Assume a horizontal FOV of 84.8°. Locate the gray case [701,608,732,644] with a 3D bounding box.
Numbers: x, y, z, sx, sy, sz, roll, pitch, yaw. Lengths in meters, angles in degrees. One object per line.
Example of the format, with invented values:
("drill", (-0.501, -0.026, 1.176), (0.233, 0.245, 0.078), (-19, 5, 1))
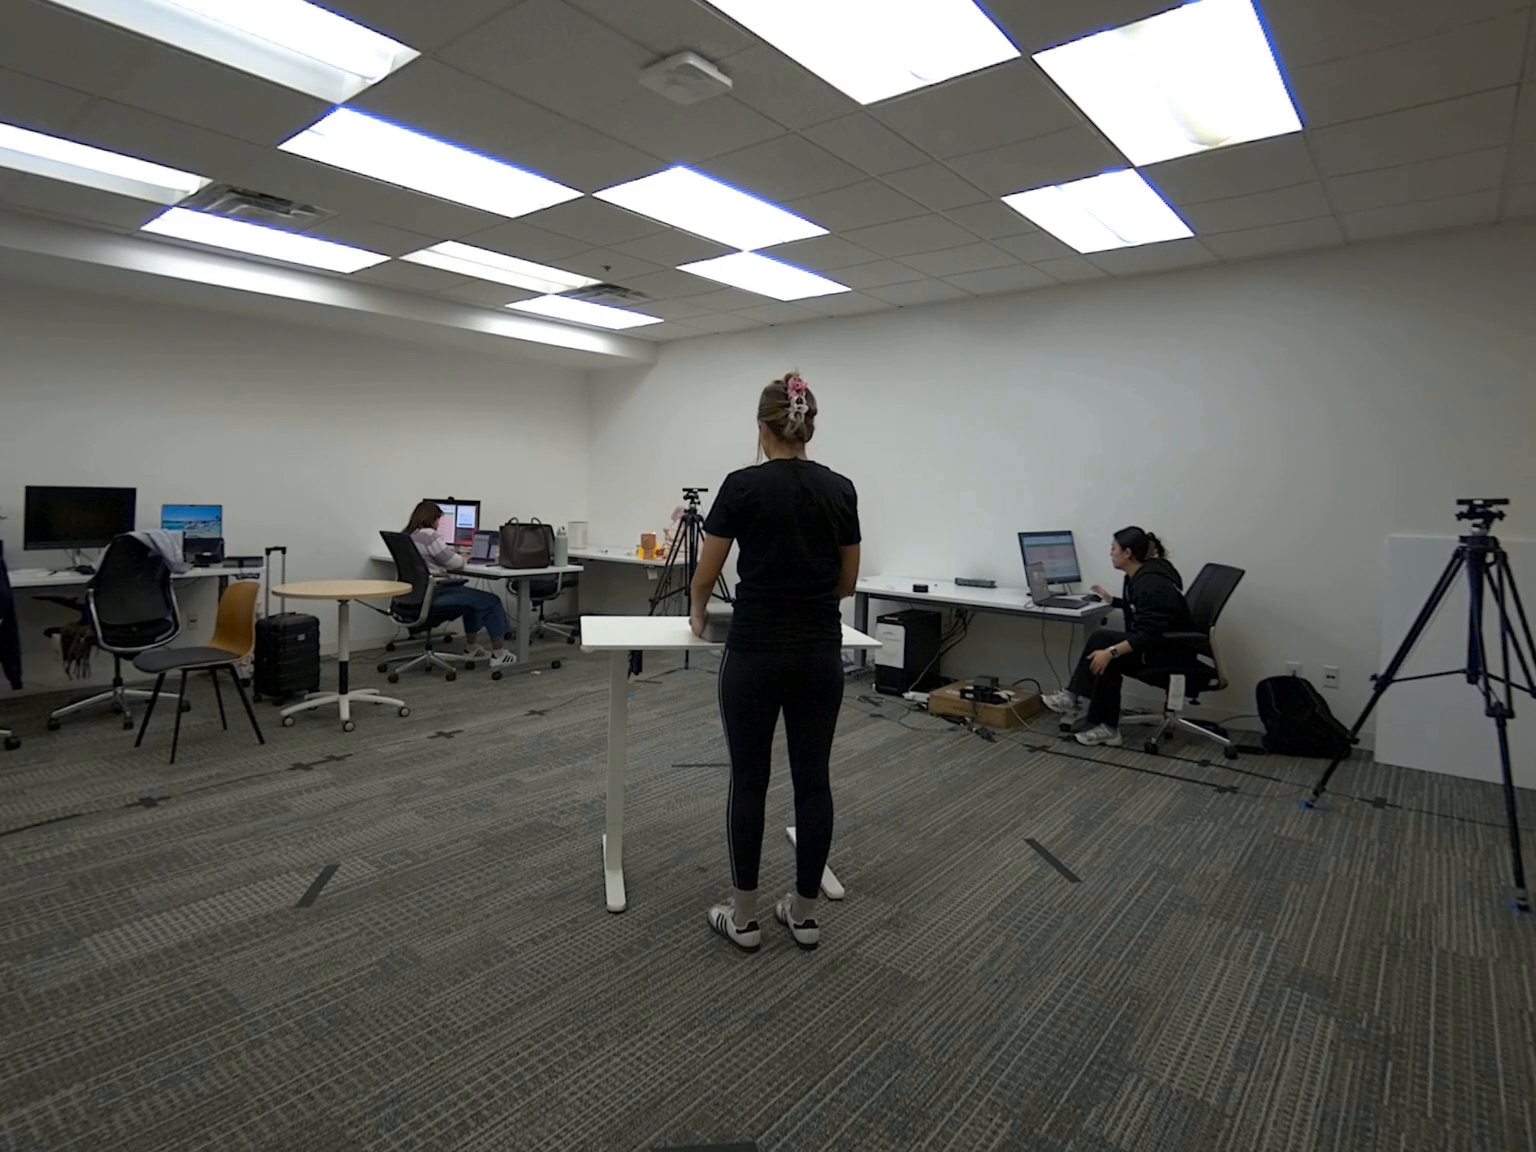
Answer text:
("gray case", (-0.133, 0.156, 2.945), (0.252, 0.104, 0.266), (-1, 5, -18))
